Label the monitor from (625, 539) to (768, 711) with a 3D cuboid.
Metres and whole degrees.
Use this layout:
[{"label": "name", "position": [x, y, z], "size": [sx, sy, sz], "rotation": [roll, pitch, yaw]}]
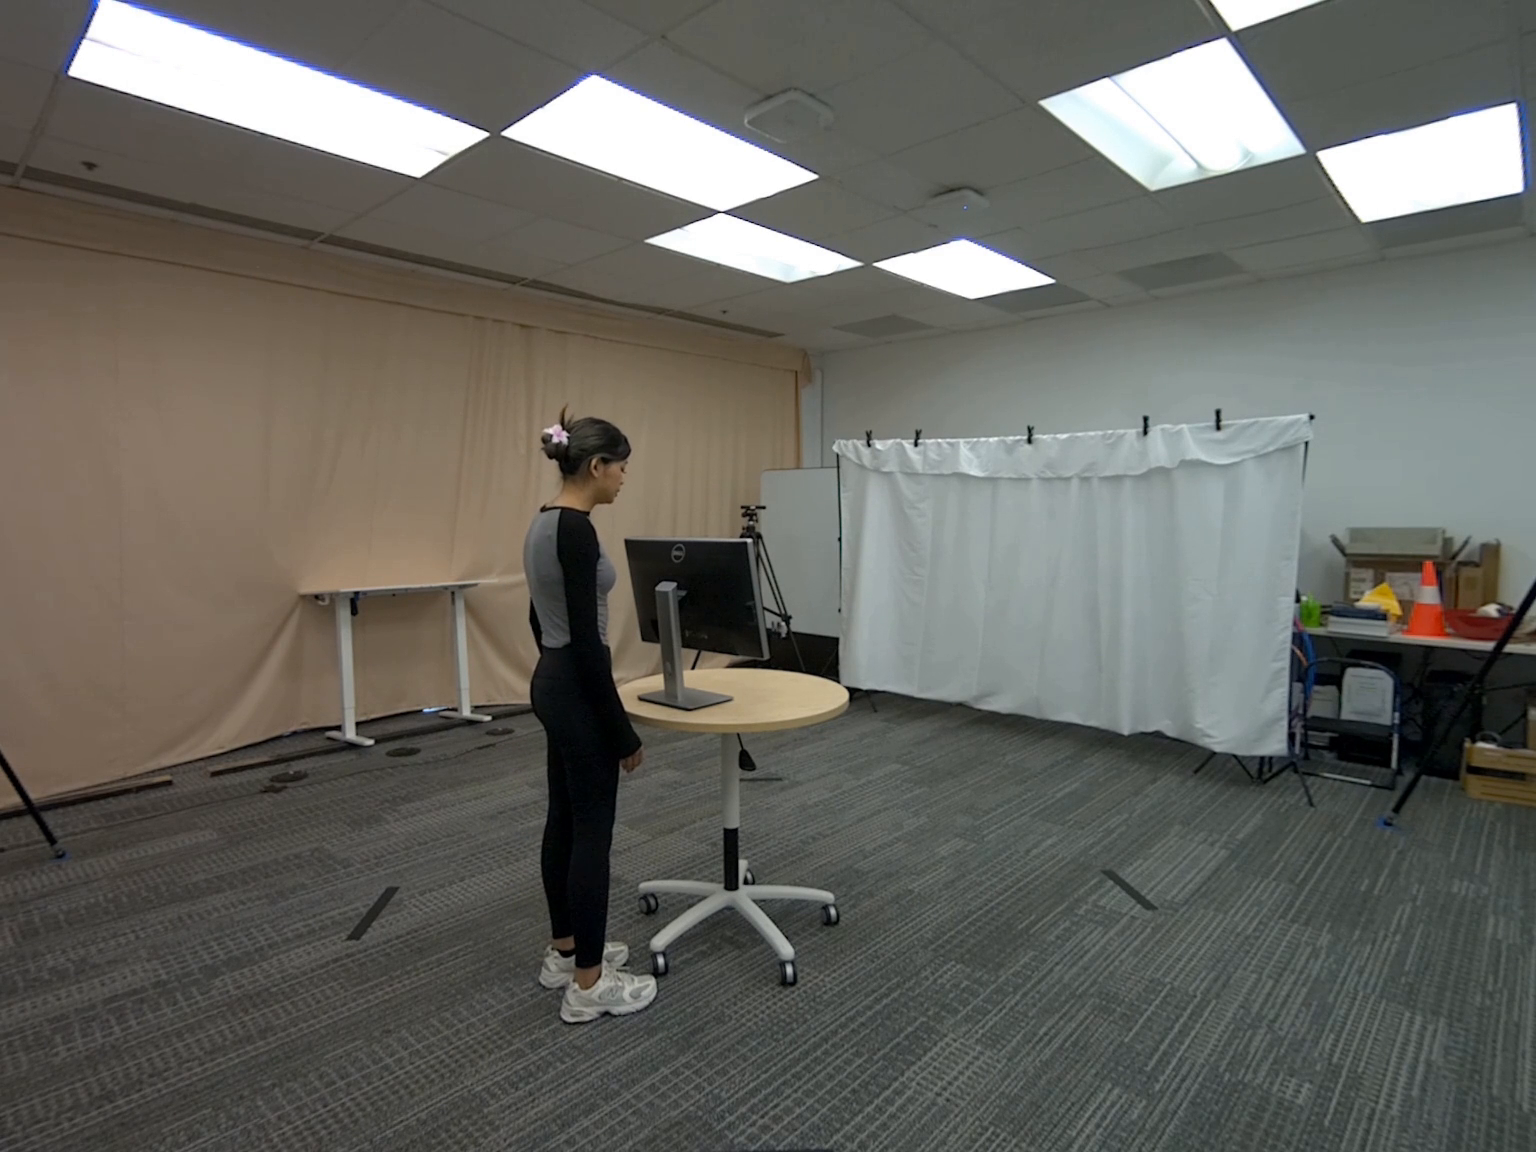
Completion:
[{"label": "monitor", "position": [-0.260, 0.144, 2.617], "size": [0.557, 0.522, 0.181], "rotation": [3, 1, 41]}]
